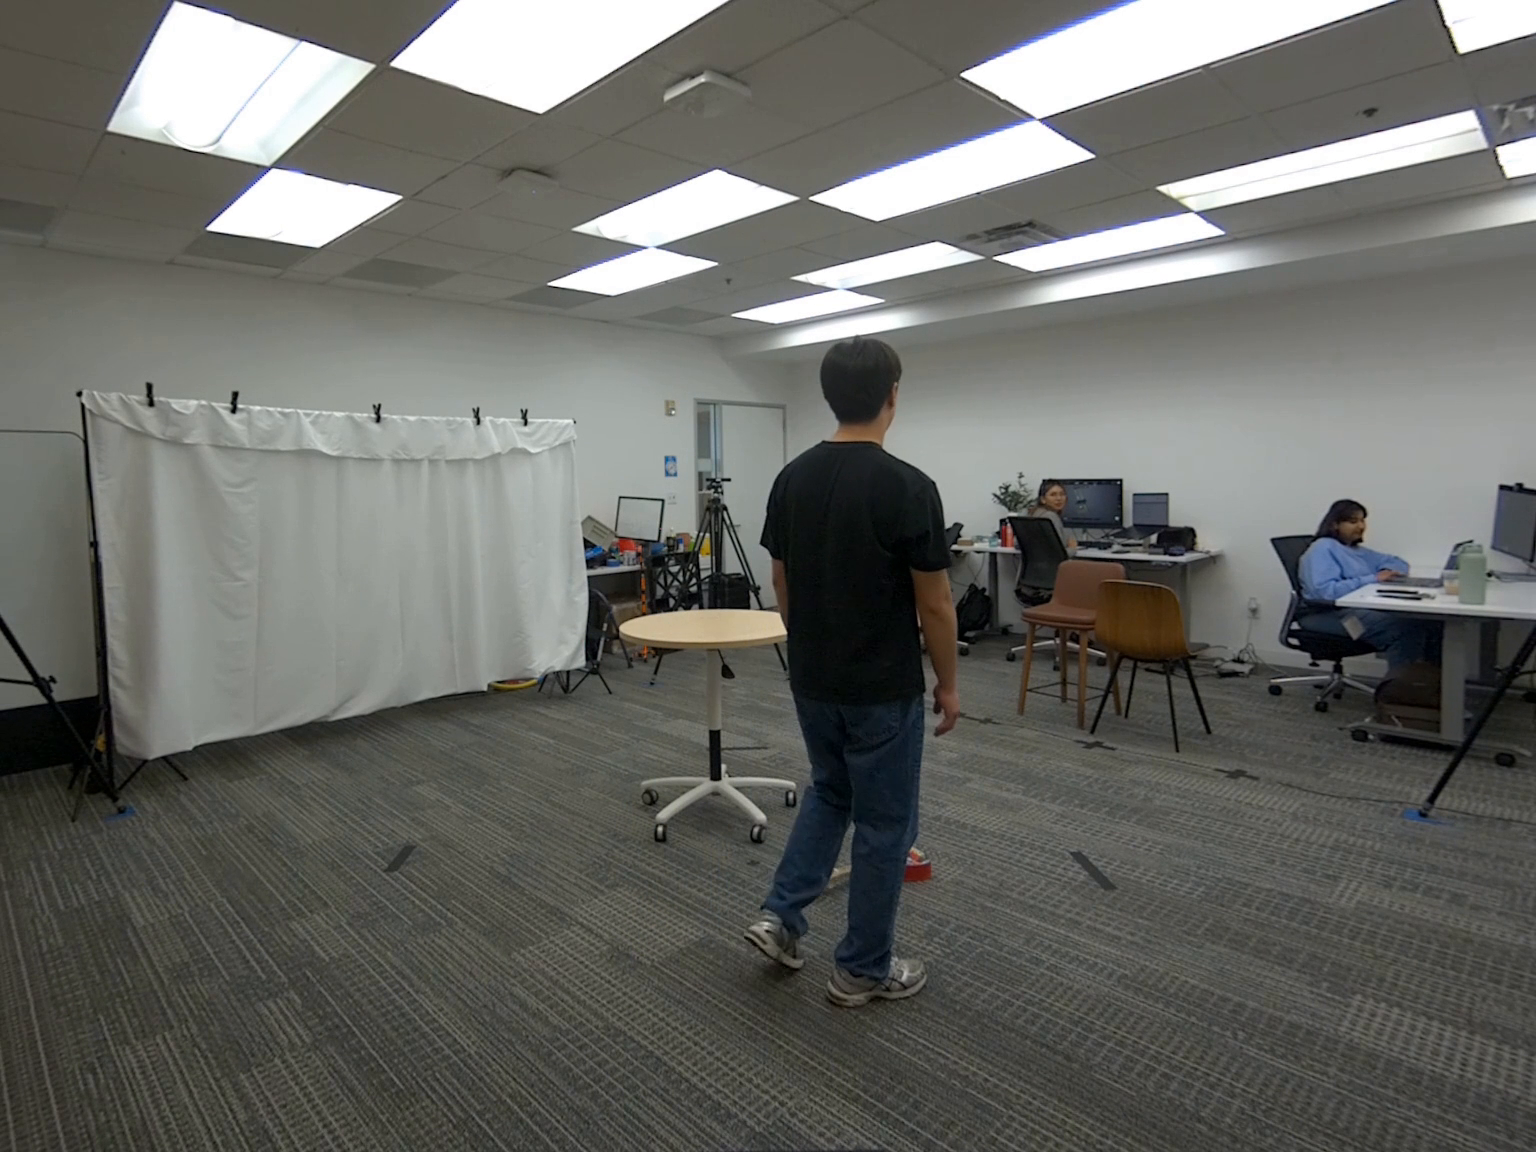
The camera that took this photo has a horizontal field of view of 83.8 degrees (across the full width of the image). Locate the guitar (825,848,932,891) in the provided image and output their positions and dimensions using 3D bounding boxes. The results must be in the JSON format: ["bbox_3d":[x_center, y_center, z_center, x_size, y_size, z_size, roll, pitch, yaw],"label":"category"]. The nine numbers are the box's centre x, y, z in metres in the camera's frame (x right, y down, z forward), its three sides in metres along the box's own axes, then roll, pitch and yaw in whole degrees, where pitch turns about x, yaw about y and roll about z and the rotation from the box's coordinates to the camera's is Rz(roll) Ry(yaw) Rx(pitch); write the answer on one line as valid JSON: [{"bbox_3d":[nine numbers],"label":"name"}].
[{"bbox_3d":[0.329,1.020,2.970,0.489,0.070,0.197,-3,7,-19],"label":"guitar"}]
